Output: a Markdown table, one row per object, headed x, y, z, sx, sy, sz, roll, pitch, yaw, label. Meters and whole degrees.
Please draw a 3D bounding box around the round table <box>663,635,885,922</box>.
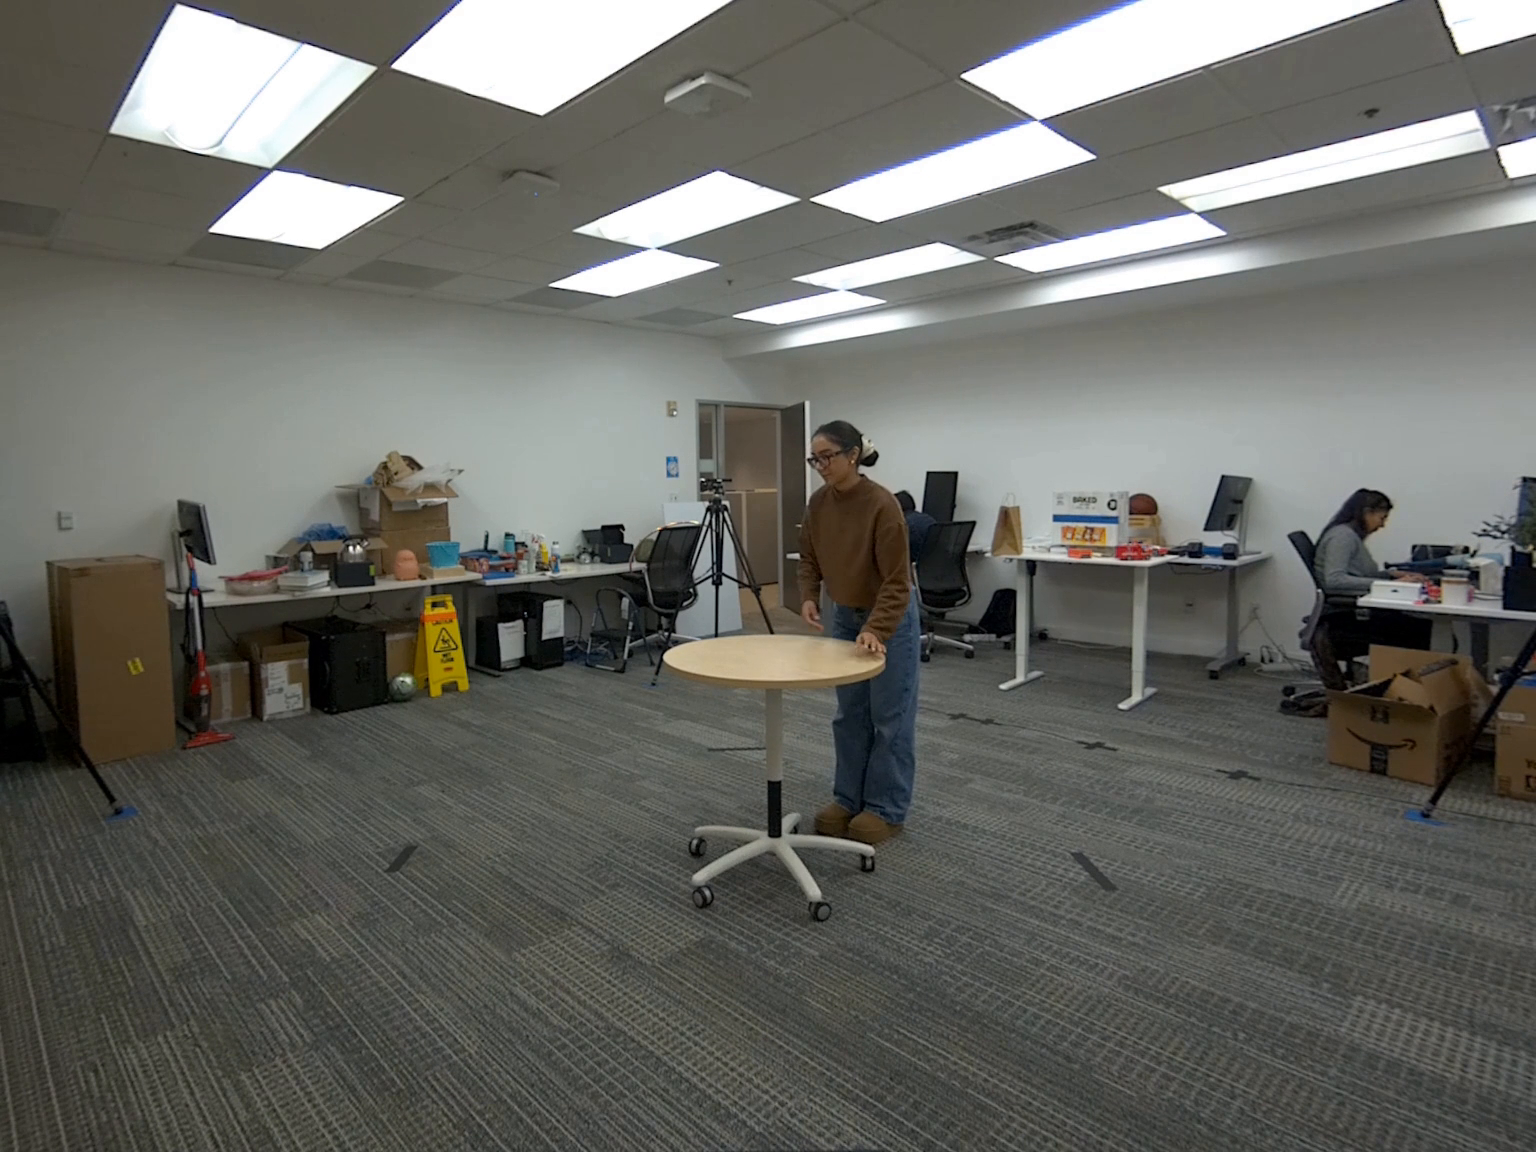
| x | y | z | sx | sy | sz | roll | pitch | yaw | label |
| --- | --- | --- | --- | --- | --- | --- | --- | --- | --- |
| 0.021 | 0.667 | 2.985 | 0.763 | 0.791 | 0.768 | 0 | 5 | -2 | round table |
